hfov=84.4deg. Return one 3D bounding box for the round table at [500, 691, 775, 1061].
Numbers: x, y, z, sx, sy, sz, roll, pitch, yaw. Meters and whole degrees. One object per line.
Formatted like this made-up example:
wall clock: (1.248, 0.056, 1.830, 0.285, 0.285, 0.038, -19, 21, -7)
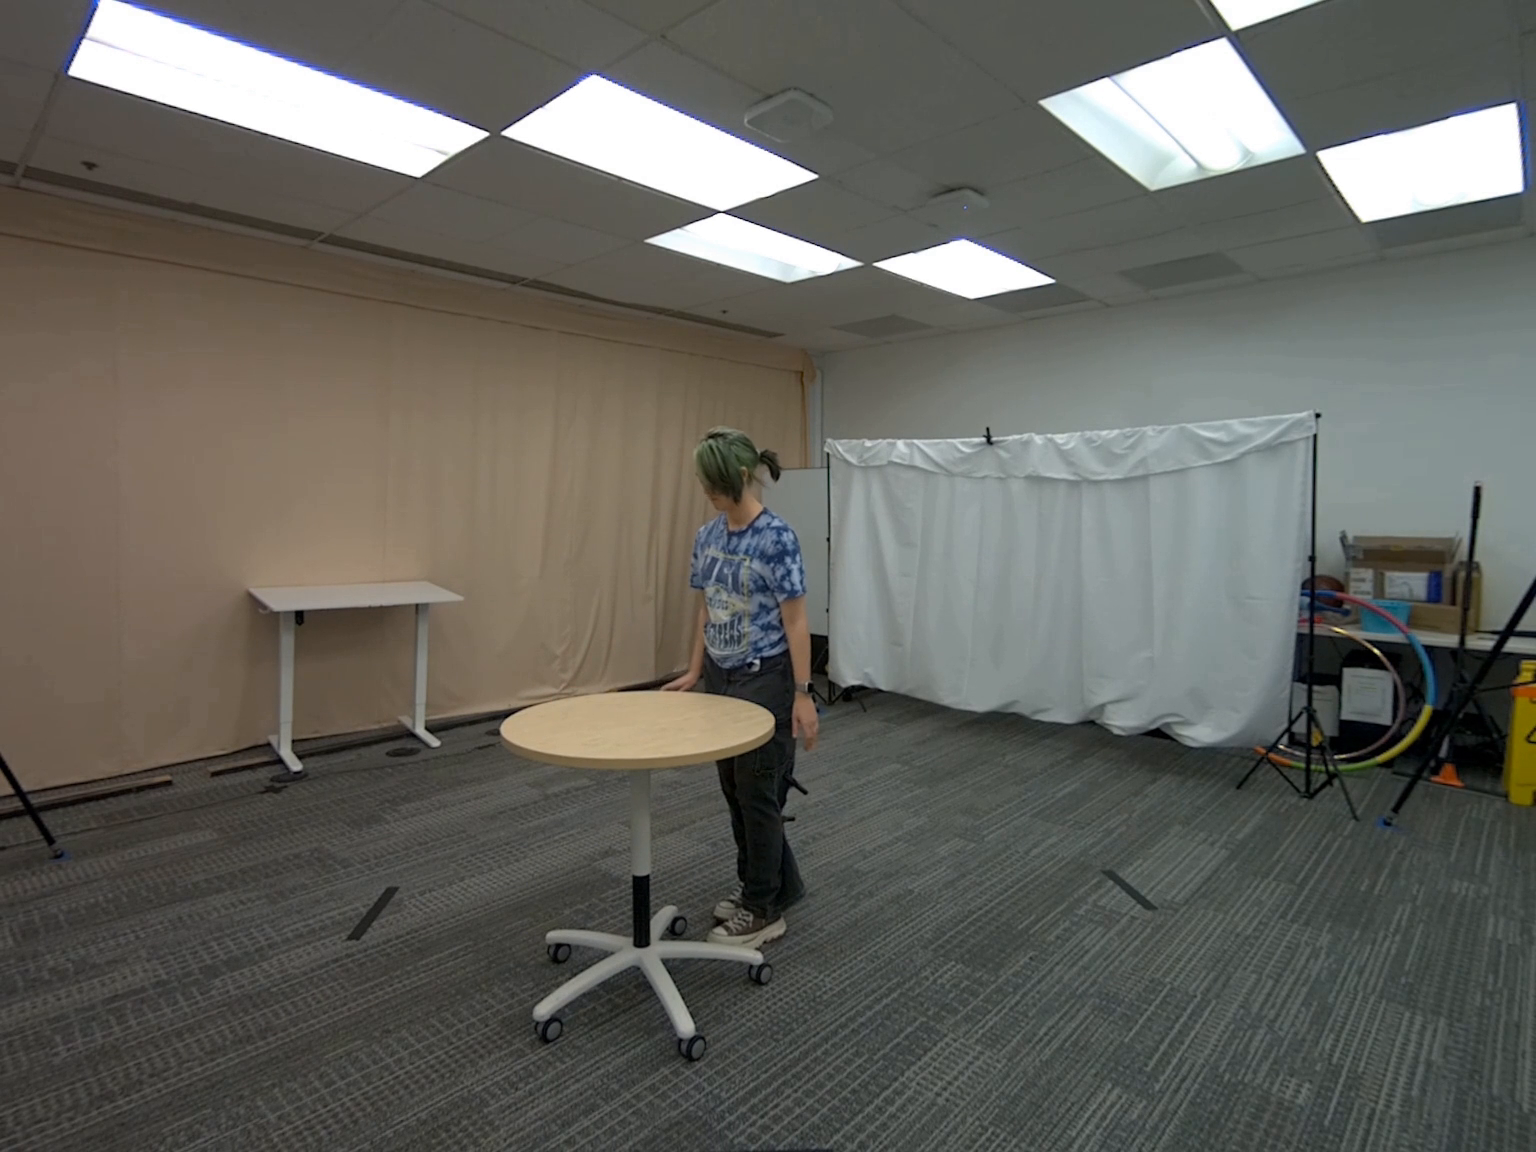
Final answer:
round table: (-0.367, 0.806, 2.392, 0.763, 0.792, 0.766, -1, 4, -2)
